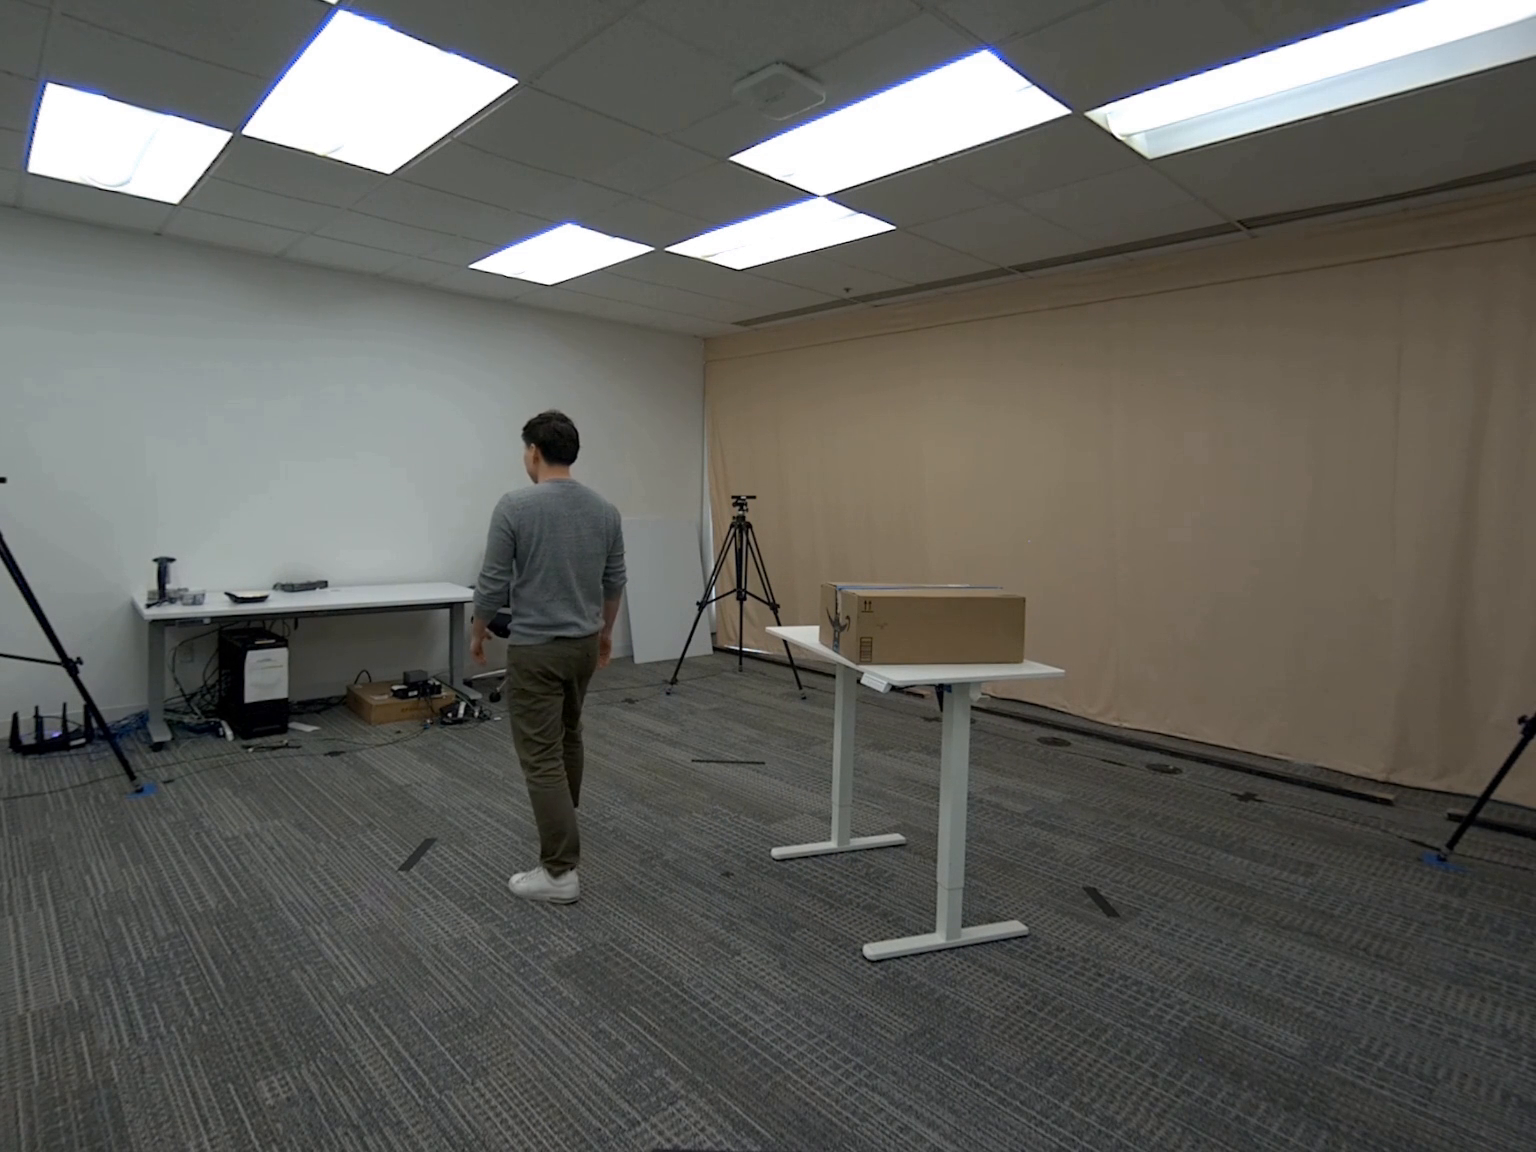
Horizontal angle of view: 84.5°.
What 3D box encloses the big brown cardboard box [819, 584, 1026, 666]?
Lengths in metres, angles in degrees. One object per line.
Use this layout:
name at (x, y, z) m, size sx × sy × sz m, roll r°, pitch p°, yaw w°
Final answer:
big brown cardboard box at (0.494, 0.147, 2.843) m, size 0.584 × 0.232 × 0.422 m, roll 0°, pitch 4°, yaw -11°
